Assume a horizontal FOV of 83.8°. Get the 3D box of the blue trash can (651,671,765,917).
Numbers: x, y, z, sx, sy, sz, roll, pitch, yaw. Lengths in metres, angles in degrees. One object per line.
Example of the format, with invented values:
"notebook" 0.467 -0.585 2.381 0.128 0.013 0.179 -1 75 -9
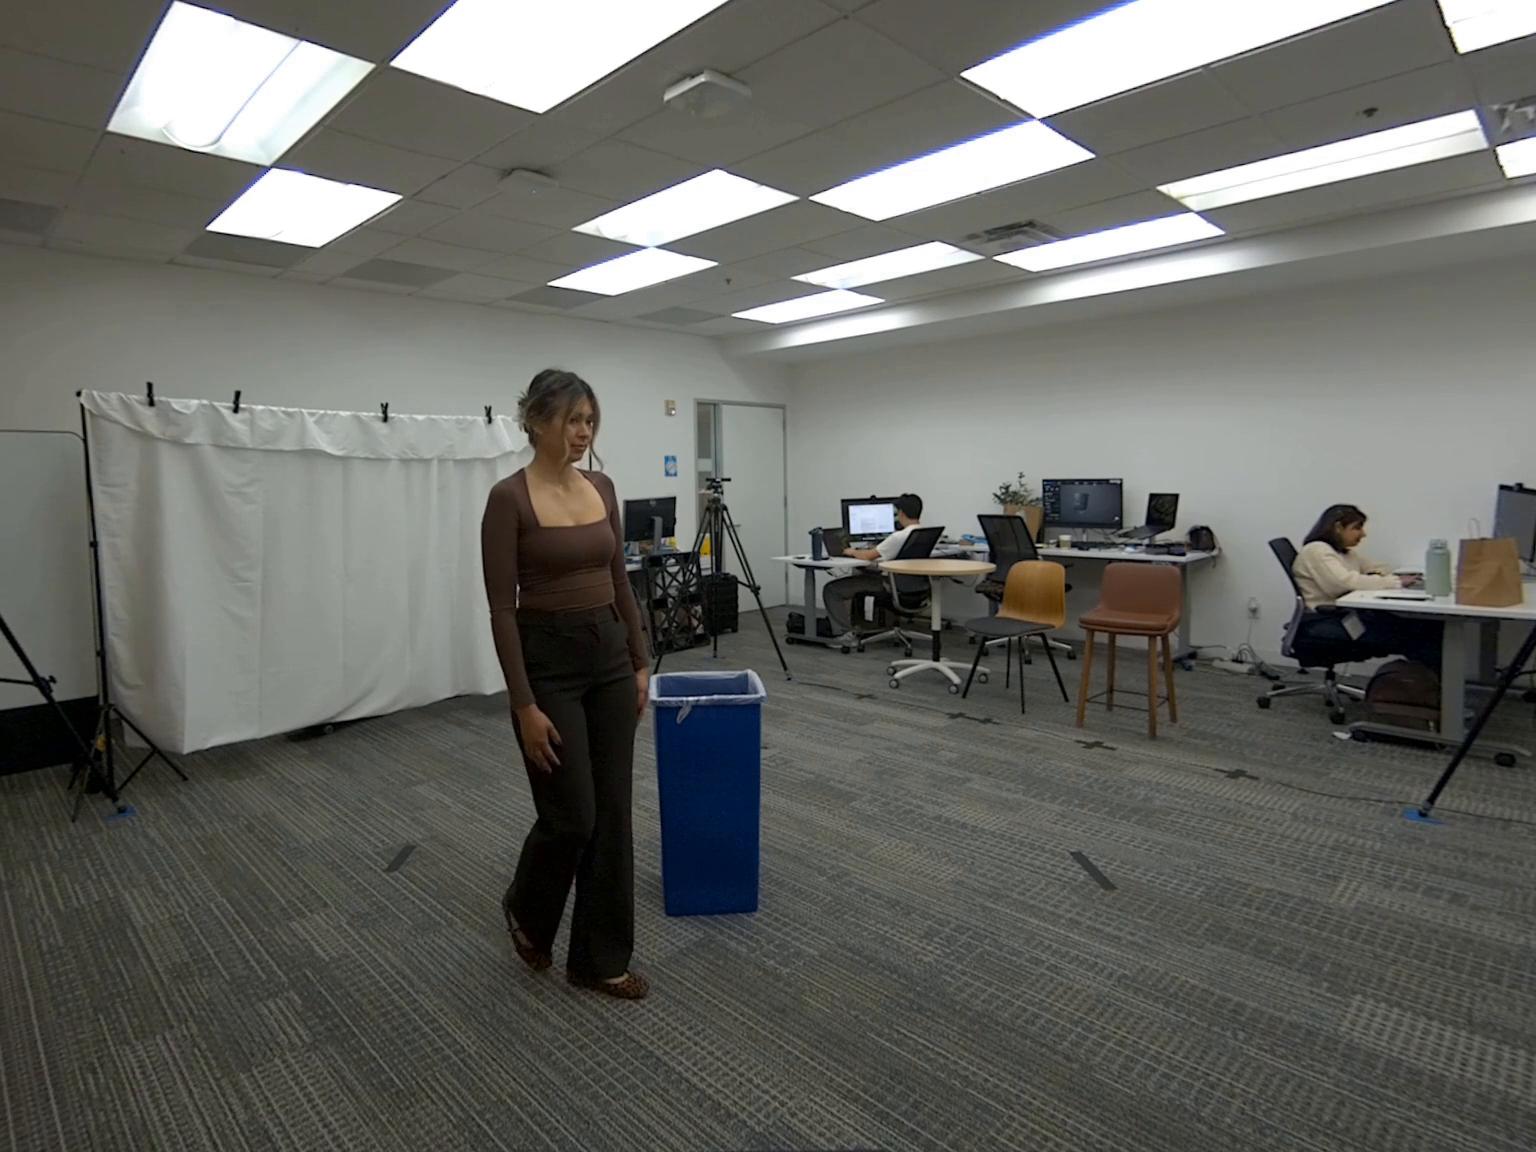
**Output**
"blue trash can" -0.195 0.713 2.873 0.372 0.711 0.382 -2 4 -6
